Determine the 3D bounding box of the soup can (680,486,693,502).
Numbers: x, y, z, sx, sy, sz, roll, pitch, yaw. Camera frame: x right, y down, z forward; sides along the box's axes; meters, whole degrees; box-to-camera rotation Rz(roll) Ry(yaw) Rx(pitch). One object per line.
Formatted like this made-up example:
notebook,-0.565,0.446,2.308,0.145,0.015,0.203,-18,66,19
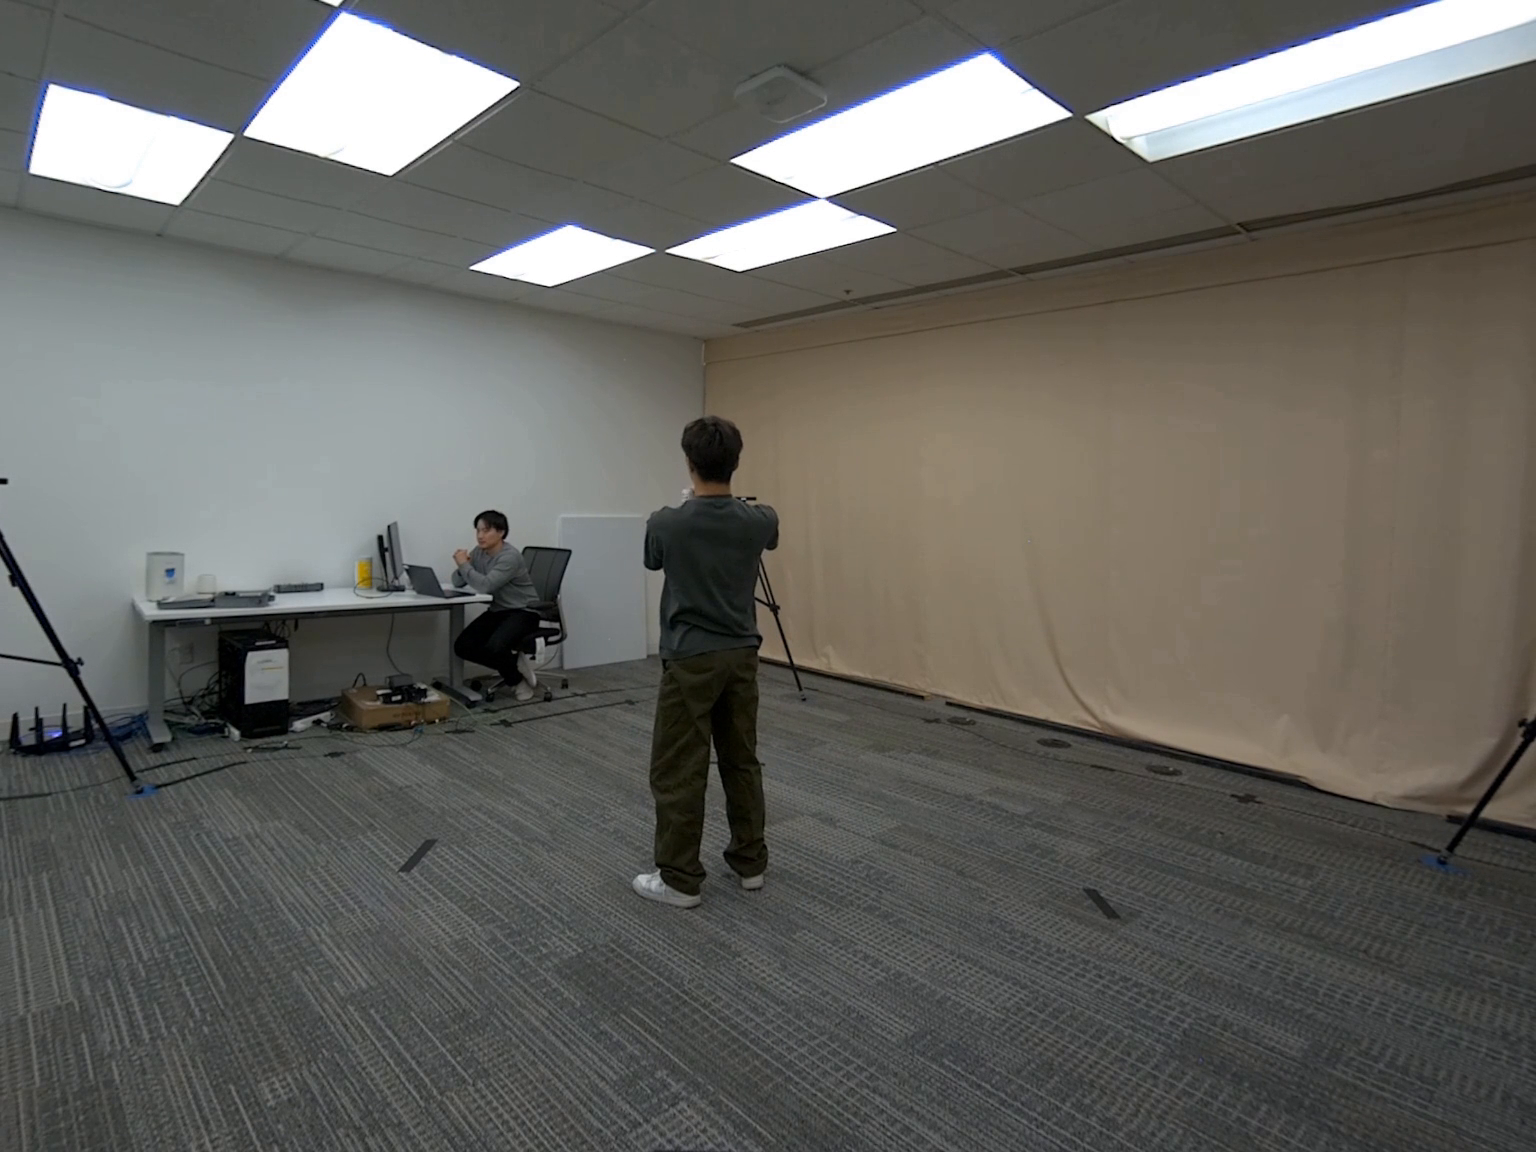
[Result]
soup can,-0.306,-0.286,3.407,0.067,0.122,0.067,-1,-7,-1
